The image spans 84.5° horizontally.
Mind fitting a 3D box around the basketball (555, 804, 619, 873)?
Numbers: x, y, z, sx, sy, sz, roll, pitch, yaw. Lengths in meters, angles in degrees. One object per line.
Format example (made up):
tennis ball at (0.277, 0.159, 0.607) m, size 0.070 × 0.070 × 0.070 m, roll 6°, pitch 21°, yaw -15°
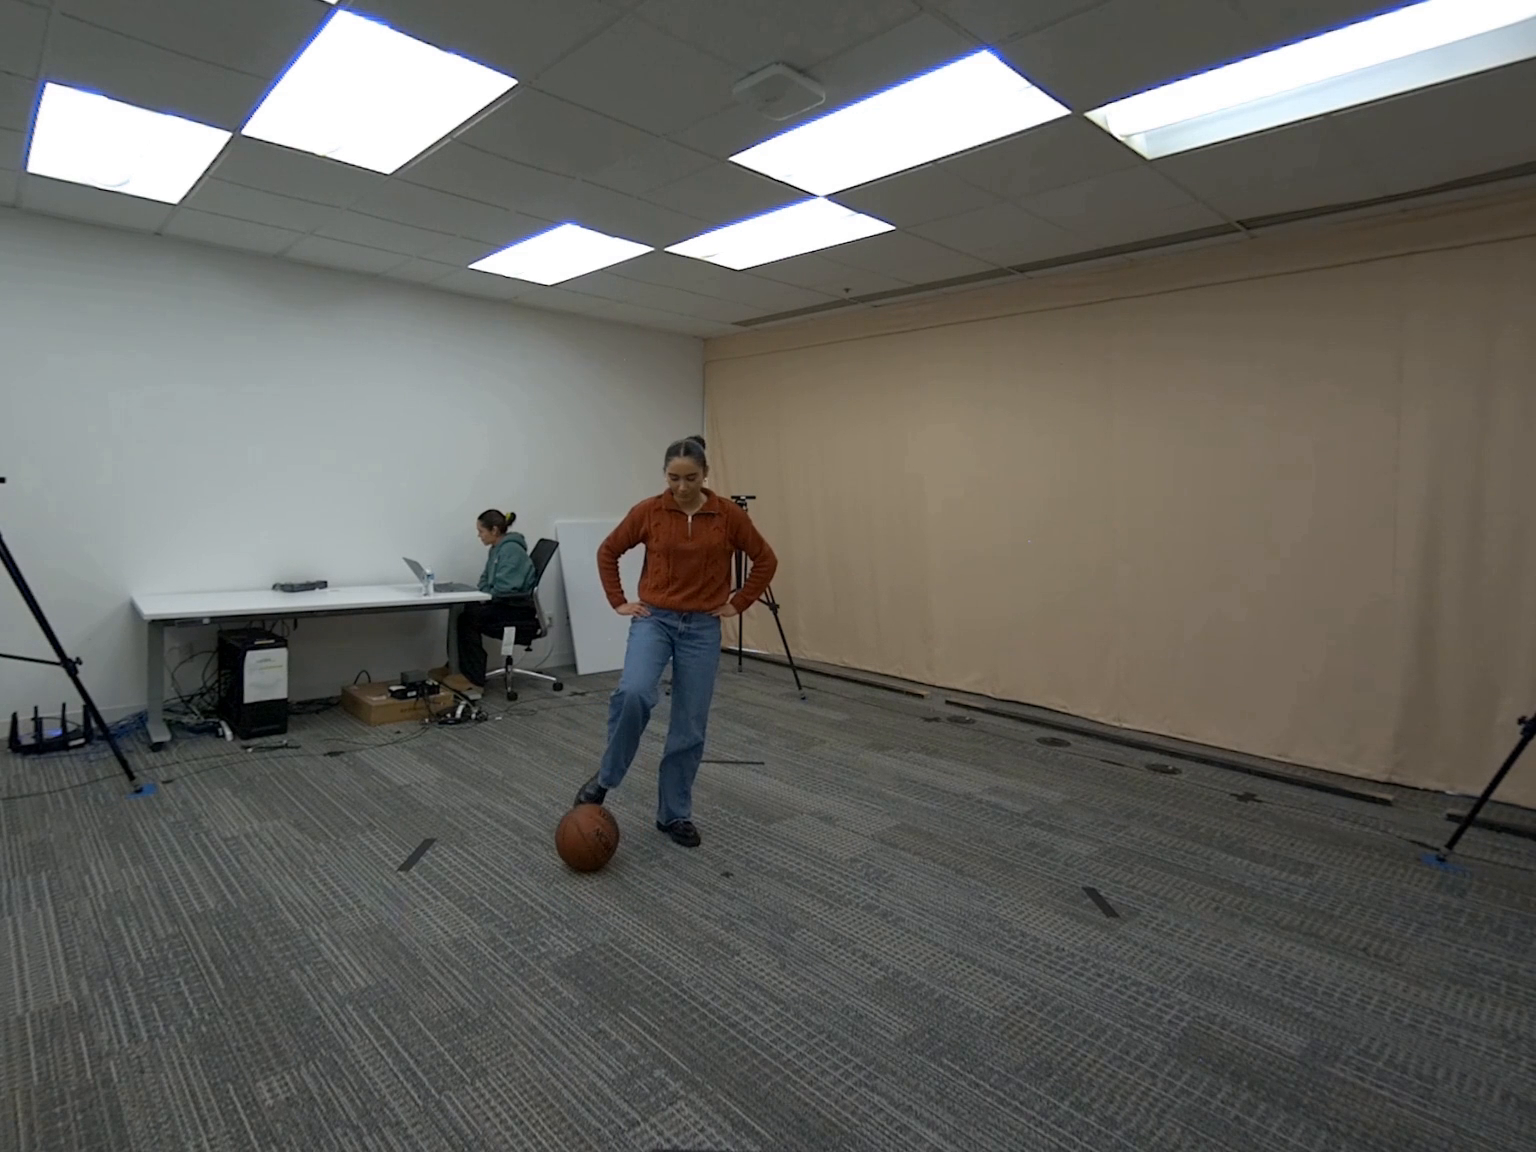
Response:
basketball at (-0.675, 0.969, 3.125) m, size 0.236 × 0.235 × 0.237 m, roll 1°, pitch 4°, yaw -1°
